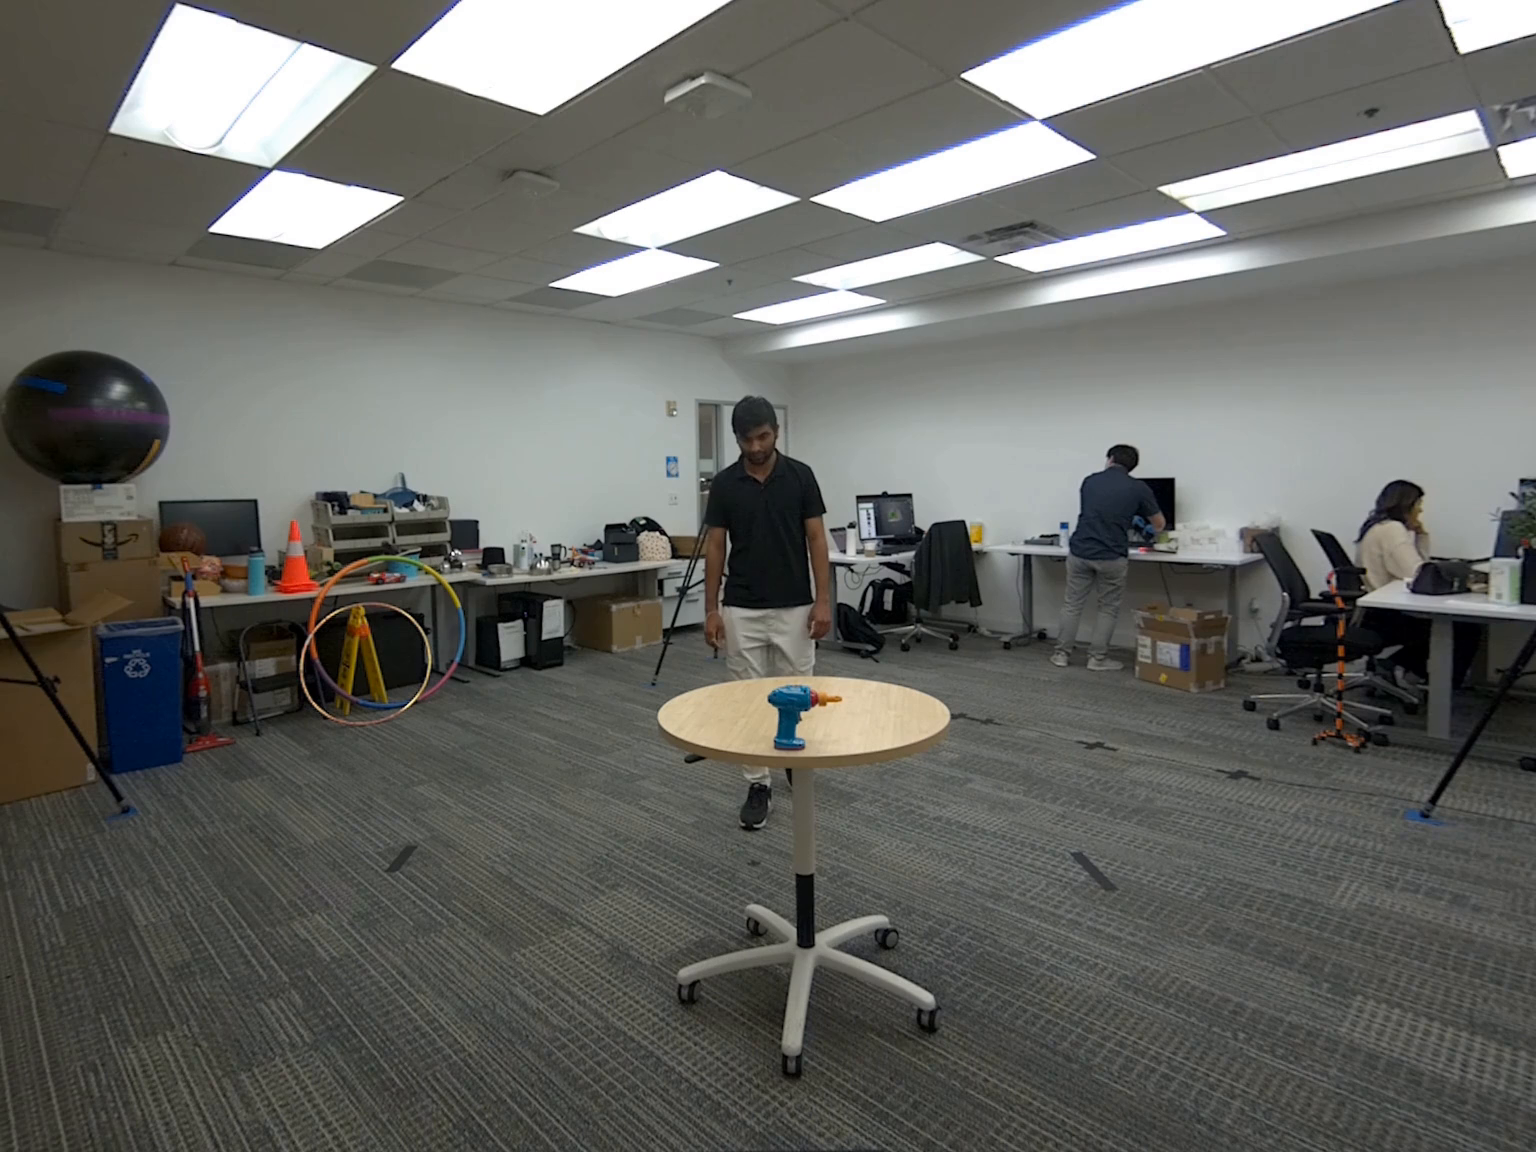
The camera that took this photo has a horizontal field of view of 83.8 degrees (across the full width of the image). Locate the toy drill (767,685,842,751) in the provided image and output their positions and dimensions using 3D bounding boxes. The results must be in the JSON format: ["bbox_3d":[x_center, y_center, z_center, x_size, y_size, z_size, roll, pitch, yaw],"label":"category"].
[{"bbox_3d":[0.093,0.321,1.947,0.170,0.146,0.061,0,3,4],"label":"toy drill"}]
